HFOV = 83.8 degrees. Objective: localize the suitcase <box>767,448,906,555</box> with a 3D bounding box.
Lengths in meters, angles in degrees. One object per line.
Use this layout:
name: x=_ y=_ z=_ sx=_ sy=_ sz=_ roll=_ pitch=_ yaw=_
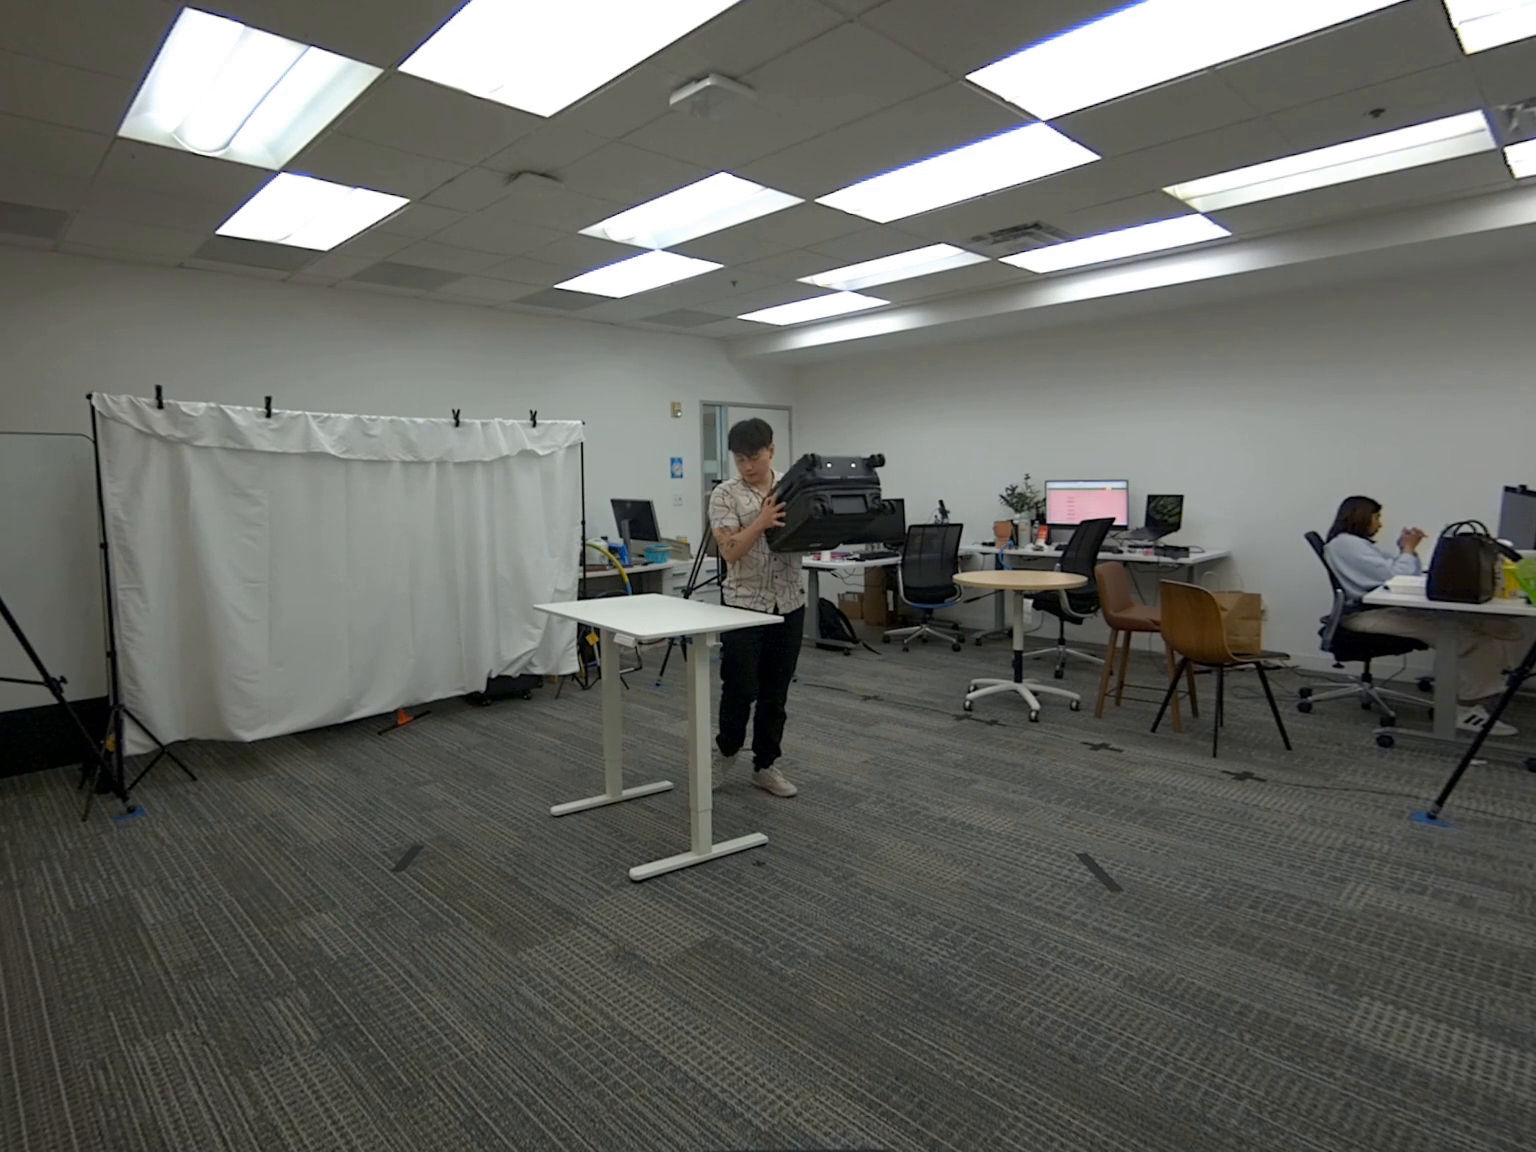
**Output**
suitcase: x=0.225 y=-0.293 z=3.486 sx=0.368 sy=0.252 sz=0.551 roll=-3 pitch=-15 yaw=-24
